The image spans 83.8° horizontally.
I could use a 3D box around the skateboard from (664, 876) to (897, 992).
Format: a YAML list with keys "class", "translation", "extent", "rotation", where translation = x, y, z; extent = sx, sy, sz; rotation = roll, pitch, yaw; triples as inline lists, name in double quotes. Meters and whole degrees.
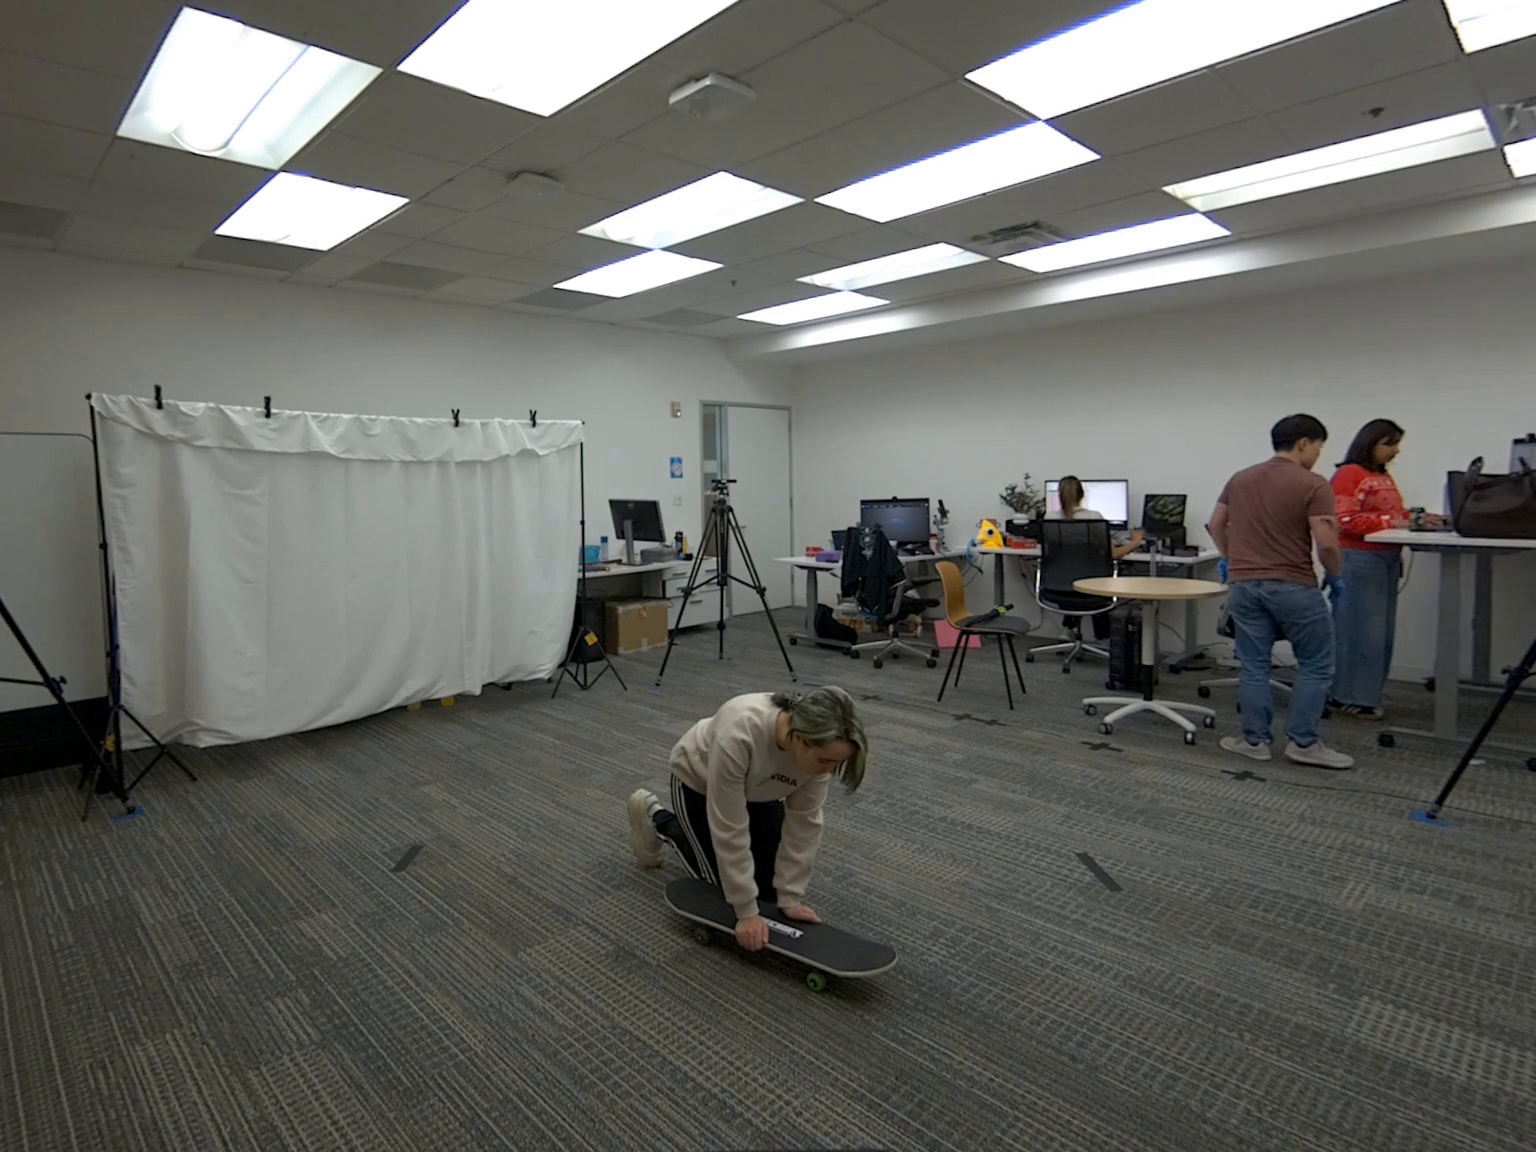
- class: "skateboard"
  translation: [0.016, 1.065, 2.517]
  extent: [0.808, 0.110, 0.189]
  rotation: [3, 7, 37]
